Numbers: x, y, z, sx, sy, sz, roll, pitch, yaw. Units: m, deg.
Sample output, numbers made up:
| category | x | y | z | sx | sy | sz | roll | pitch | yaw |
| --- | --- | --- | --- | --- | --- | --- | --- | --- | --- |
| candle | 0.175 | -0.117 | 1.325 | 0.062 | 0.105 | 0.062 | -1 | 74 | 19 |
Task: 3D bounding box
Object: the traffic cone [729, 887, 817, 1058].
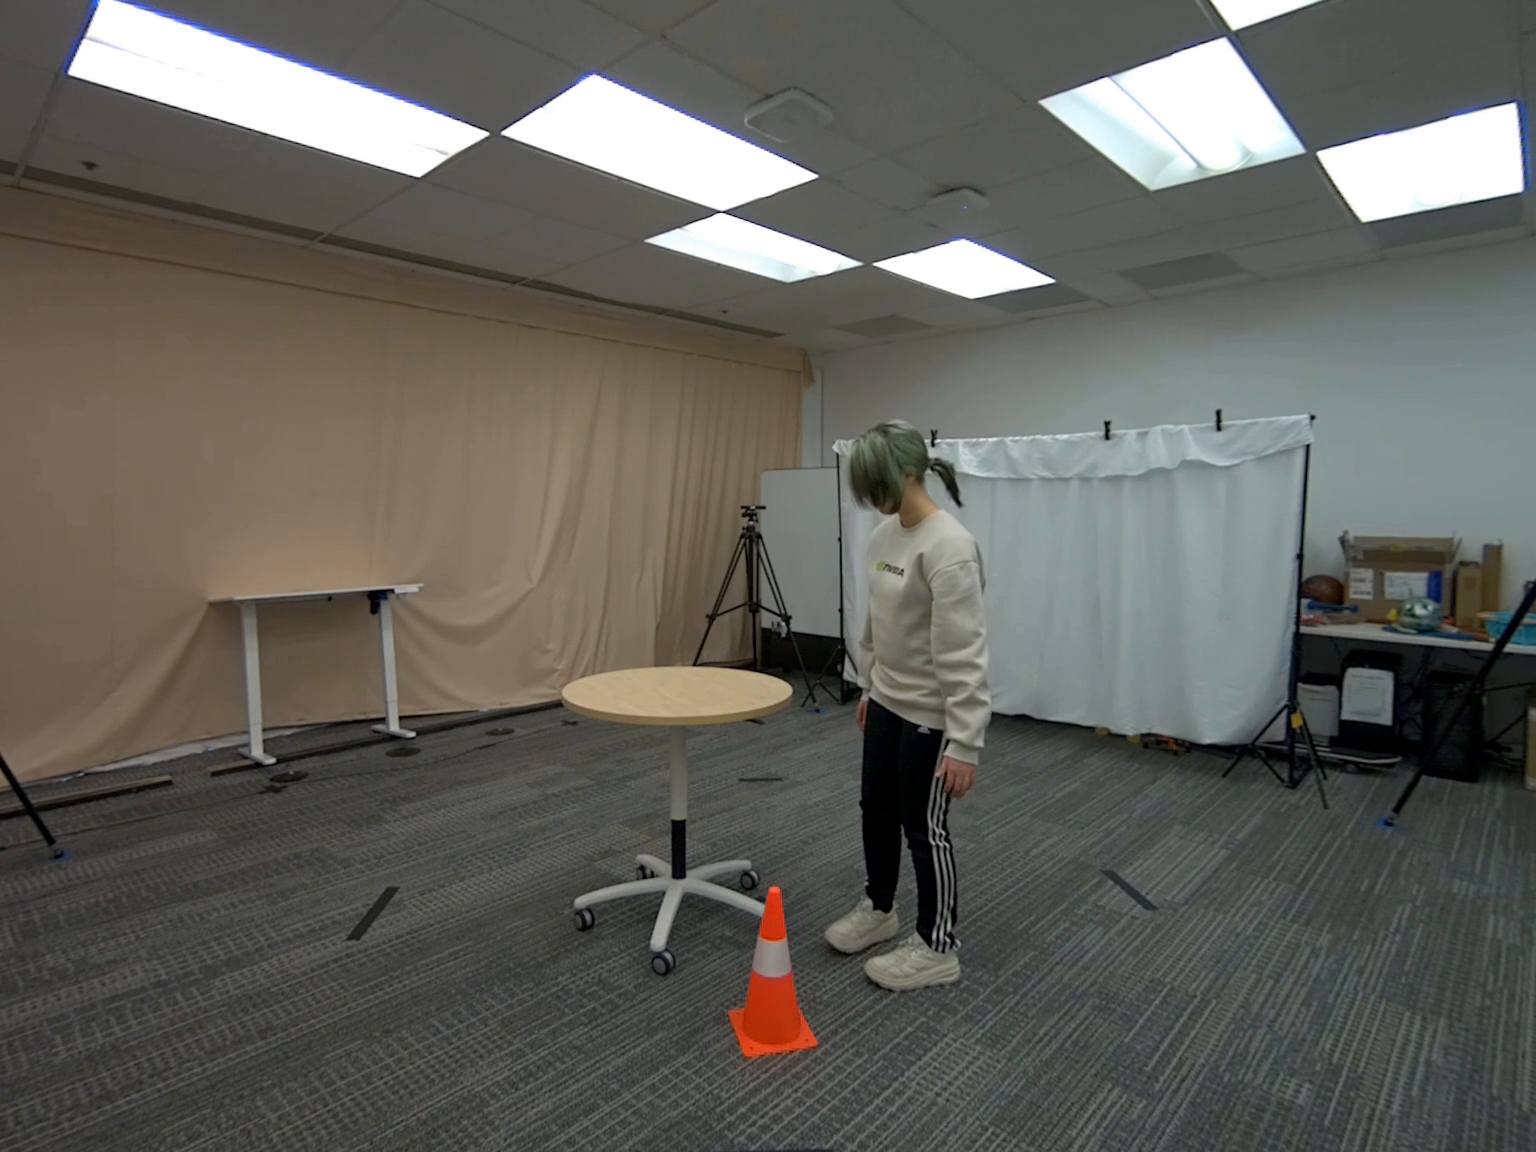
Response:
| category | x | y | z | sx | sy | sz | roll | pitch | yaw |
| --- | --- | --- | --- | --- | --- | --- | --- | --- | --- |
| traffic cone | 0.019 | 1.020 | 2.231 | 0.202 | 0.383 | 0.206 | 2 | 2 | -12 |
